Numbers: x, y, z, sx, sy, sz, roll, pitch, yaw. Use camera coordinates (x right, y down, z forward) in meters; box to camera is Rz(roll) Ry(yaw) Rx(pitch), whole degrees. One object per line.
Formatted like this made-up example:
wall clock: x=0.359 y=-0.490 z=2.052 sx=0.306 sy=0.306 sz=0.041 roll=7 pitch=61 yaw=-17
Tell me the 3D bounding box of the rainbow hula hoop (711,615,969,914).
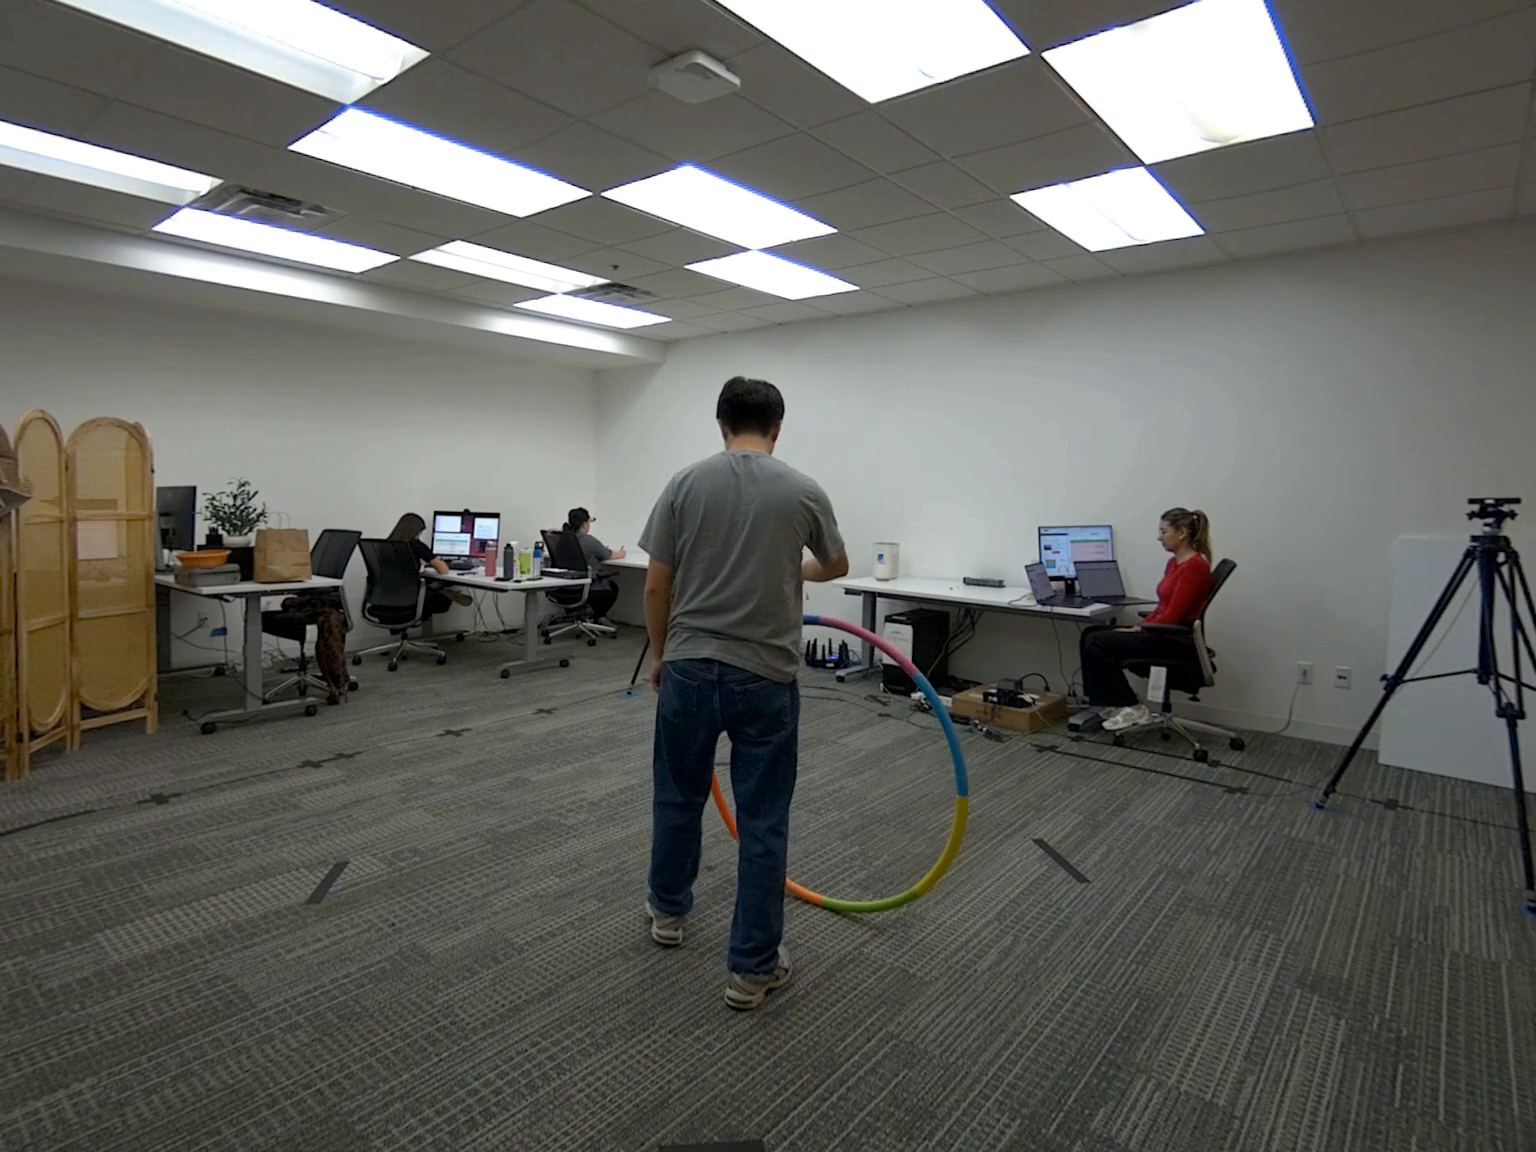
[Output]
rainbow hula hoop: x=0.162 y=0.615 z=2.800 sx=1.010 sy=0.973 sz=0.034 roll=4 pitch=7 yaw=36
